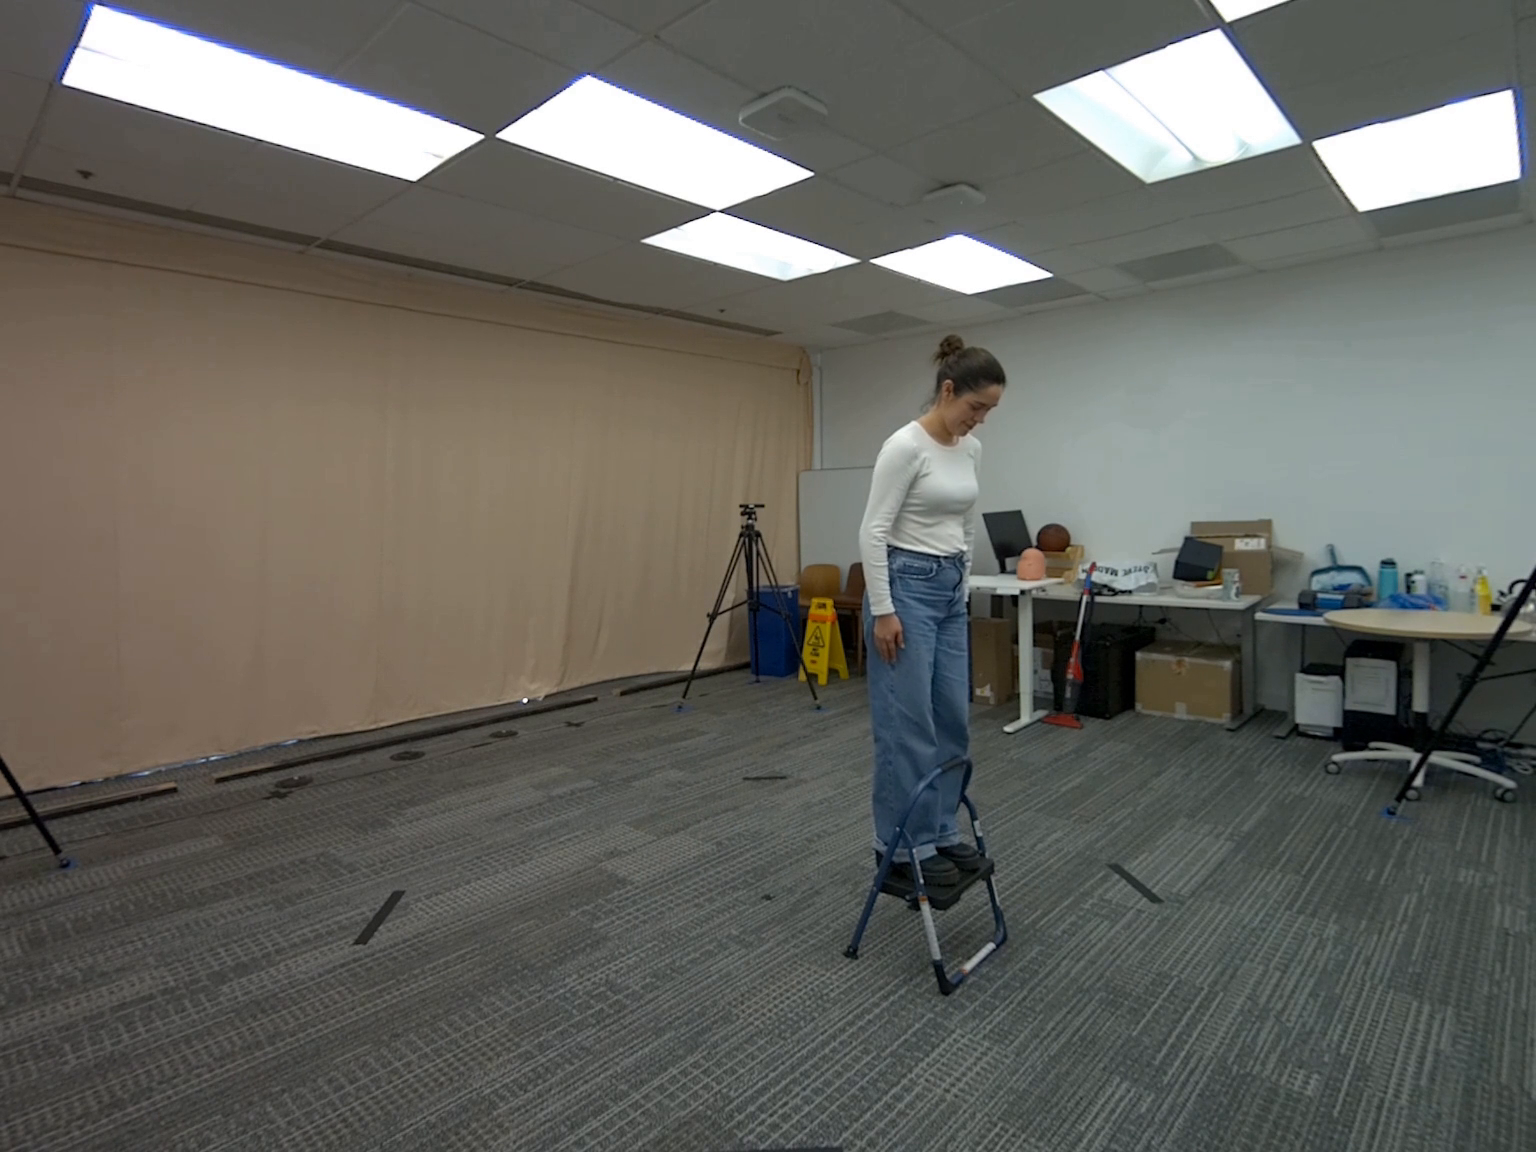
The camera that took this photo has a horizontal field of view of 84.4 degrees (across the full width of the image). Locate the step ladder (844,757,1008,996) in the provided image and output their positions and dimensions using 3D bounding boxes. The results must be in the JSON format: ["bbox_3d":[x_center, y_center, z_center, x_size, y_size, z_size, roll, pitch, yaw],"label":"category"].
[{"bbox_3d":[0.500,0.863,2.611,0.361,0.604,0.418,3,6,40],"label":"step ladder"}]
